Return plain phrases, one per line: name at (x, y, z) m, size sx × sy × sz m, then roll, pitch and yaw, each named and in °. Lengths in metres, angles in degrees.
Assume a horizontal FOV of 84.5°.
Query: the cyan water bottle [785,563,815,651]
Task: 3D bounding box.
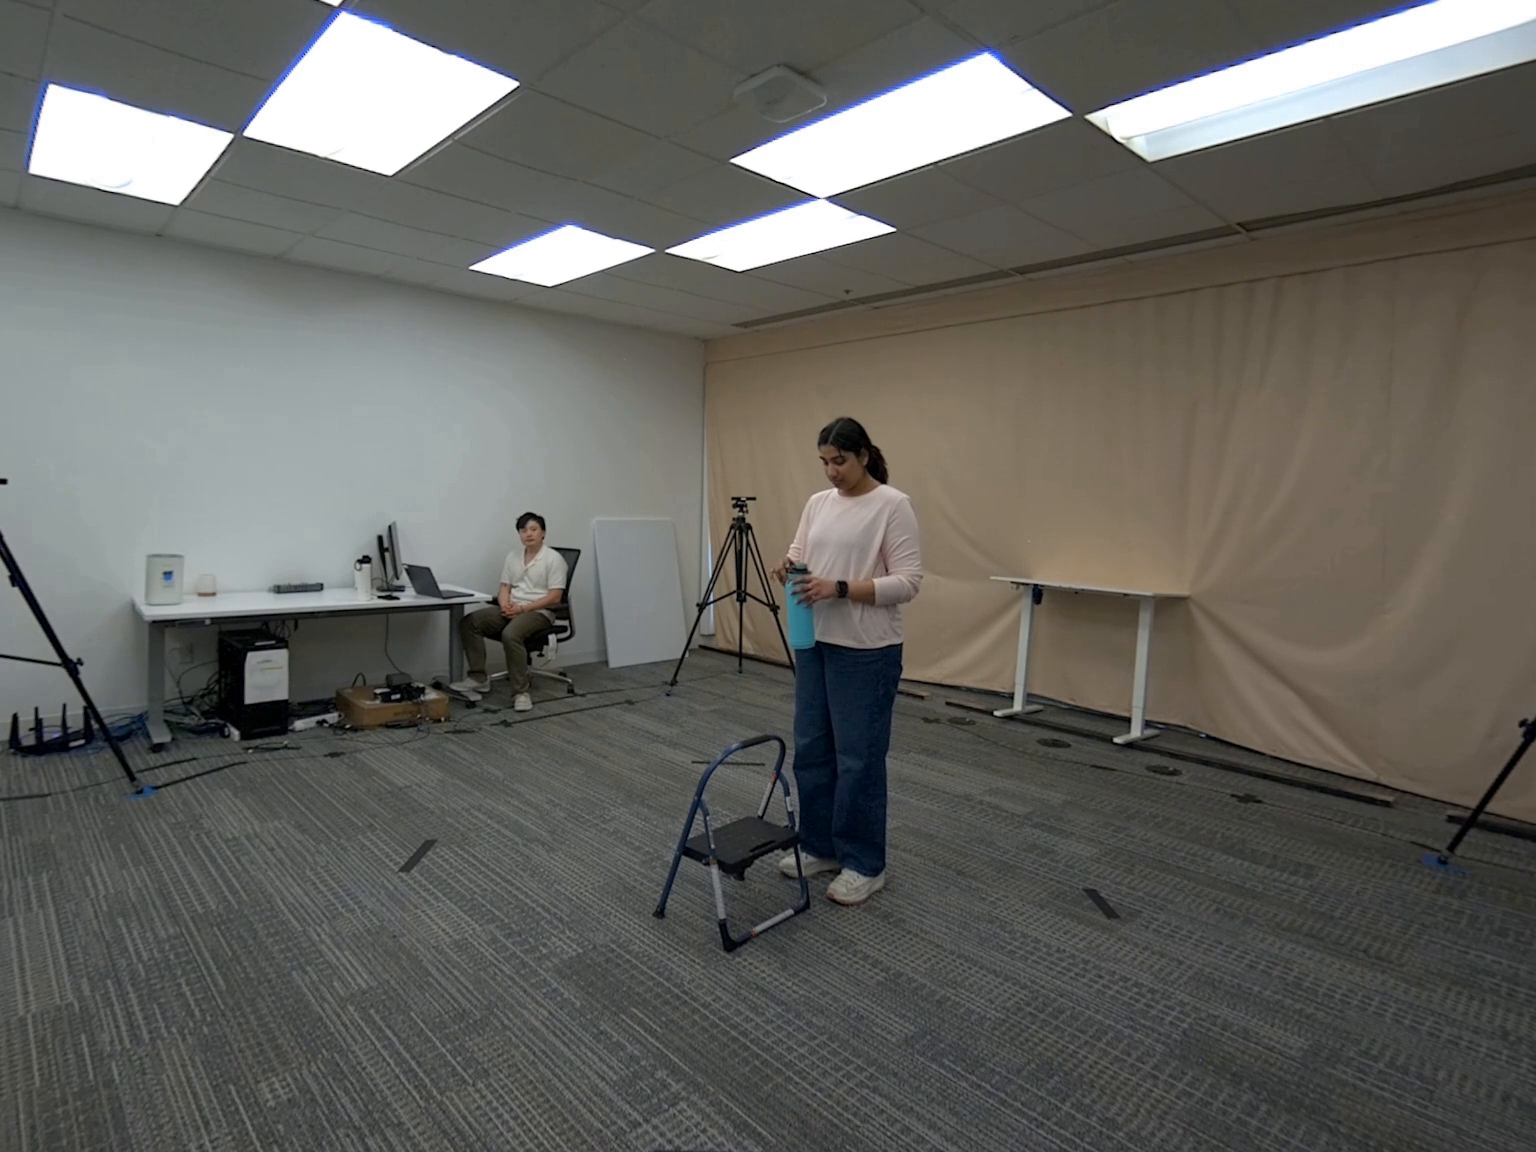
cyan water bottle at (0.098, 0.098, 2.843) m, size 0.092 × 0.281 × 0.093 m, roll -6°, pitch 8°, yaw 0°
